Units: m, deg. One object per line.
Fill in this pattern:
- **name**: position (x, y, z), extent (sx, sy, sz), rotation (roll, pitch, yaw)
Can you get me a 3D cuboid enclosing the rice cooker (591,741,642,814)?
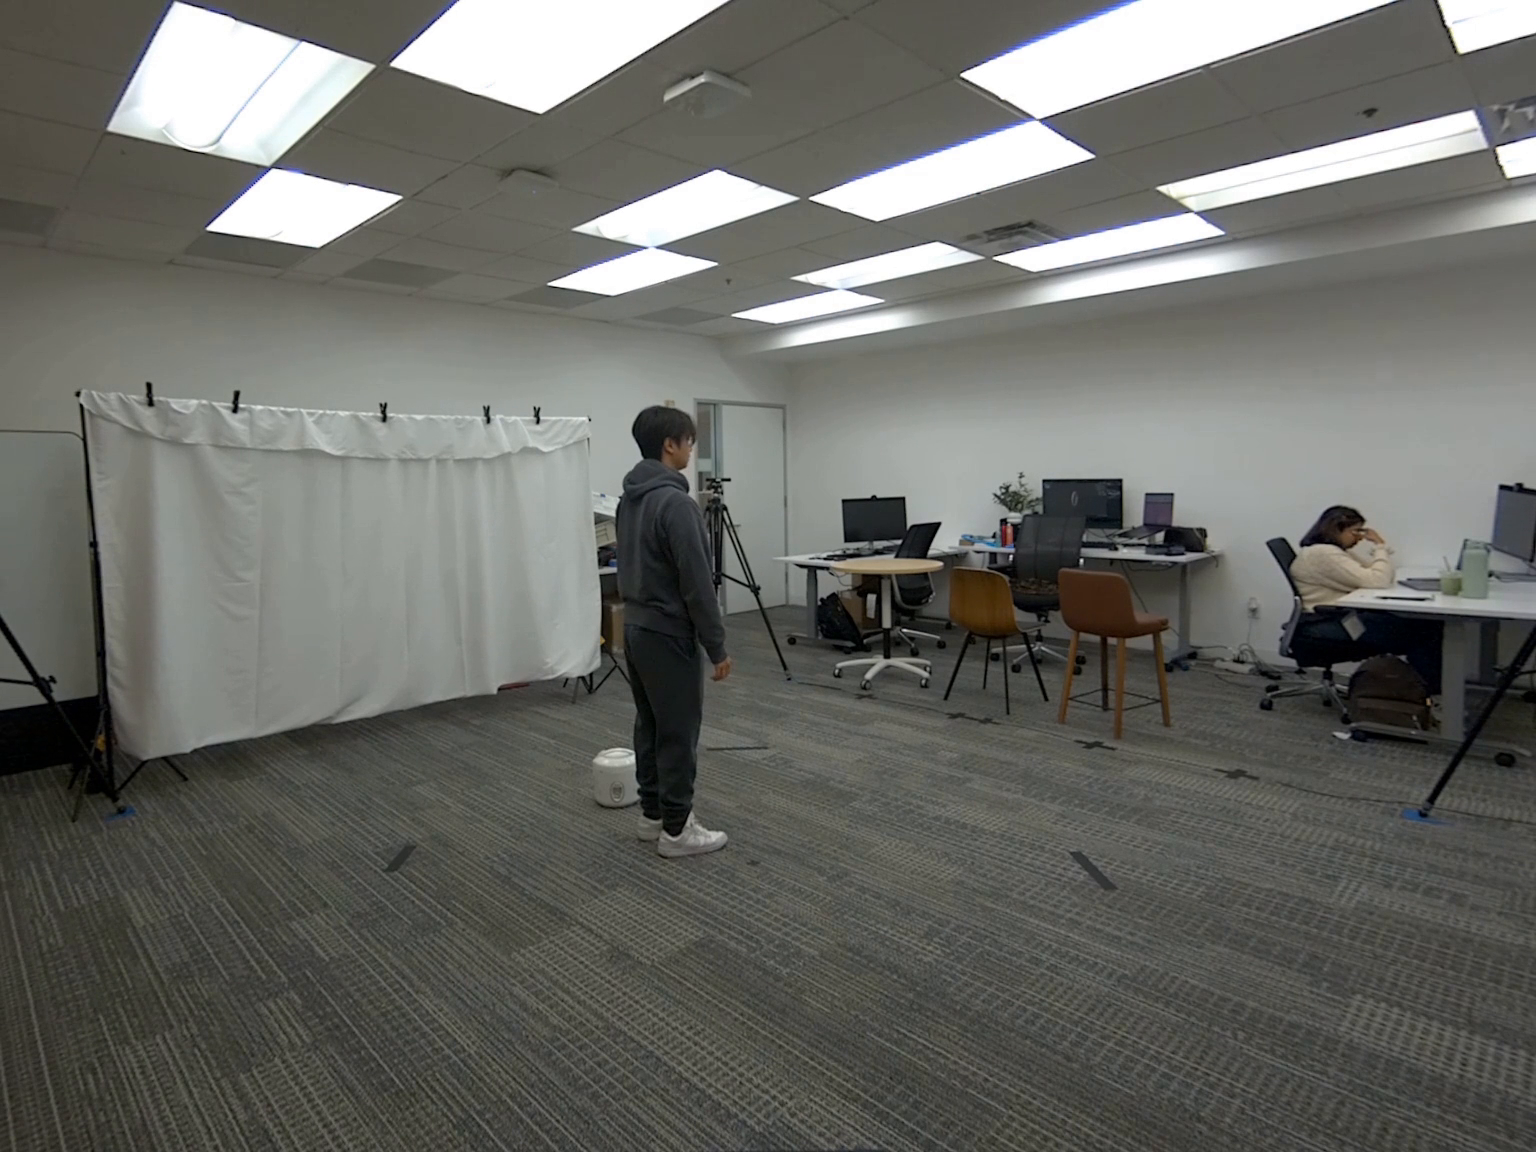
- **rice cooker**: position (-0.649, 0.870, 3.731), extent (0.219, 0.232, 0.219), rotation (-1, 4, -7)
